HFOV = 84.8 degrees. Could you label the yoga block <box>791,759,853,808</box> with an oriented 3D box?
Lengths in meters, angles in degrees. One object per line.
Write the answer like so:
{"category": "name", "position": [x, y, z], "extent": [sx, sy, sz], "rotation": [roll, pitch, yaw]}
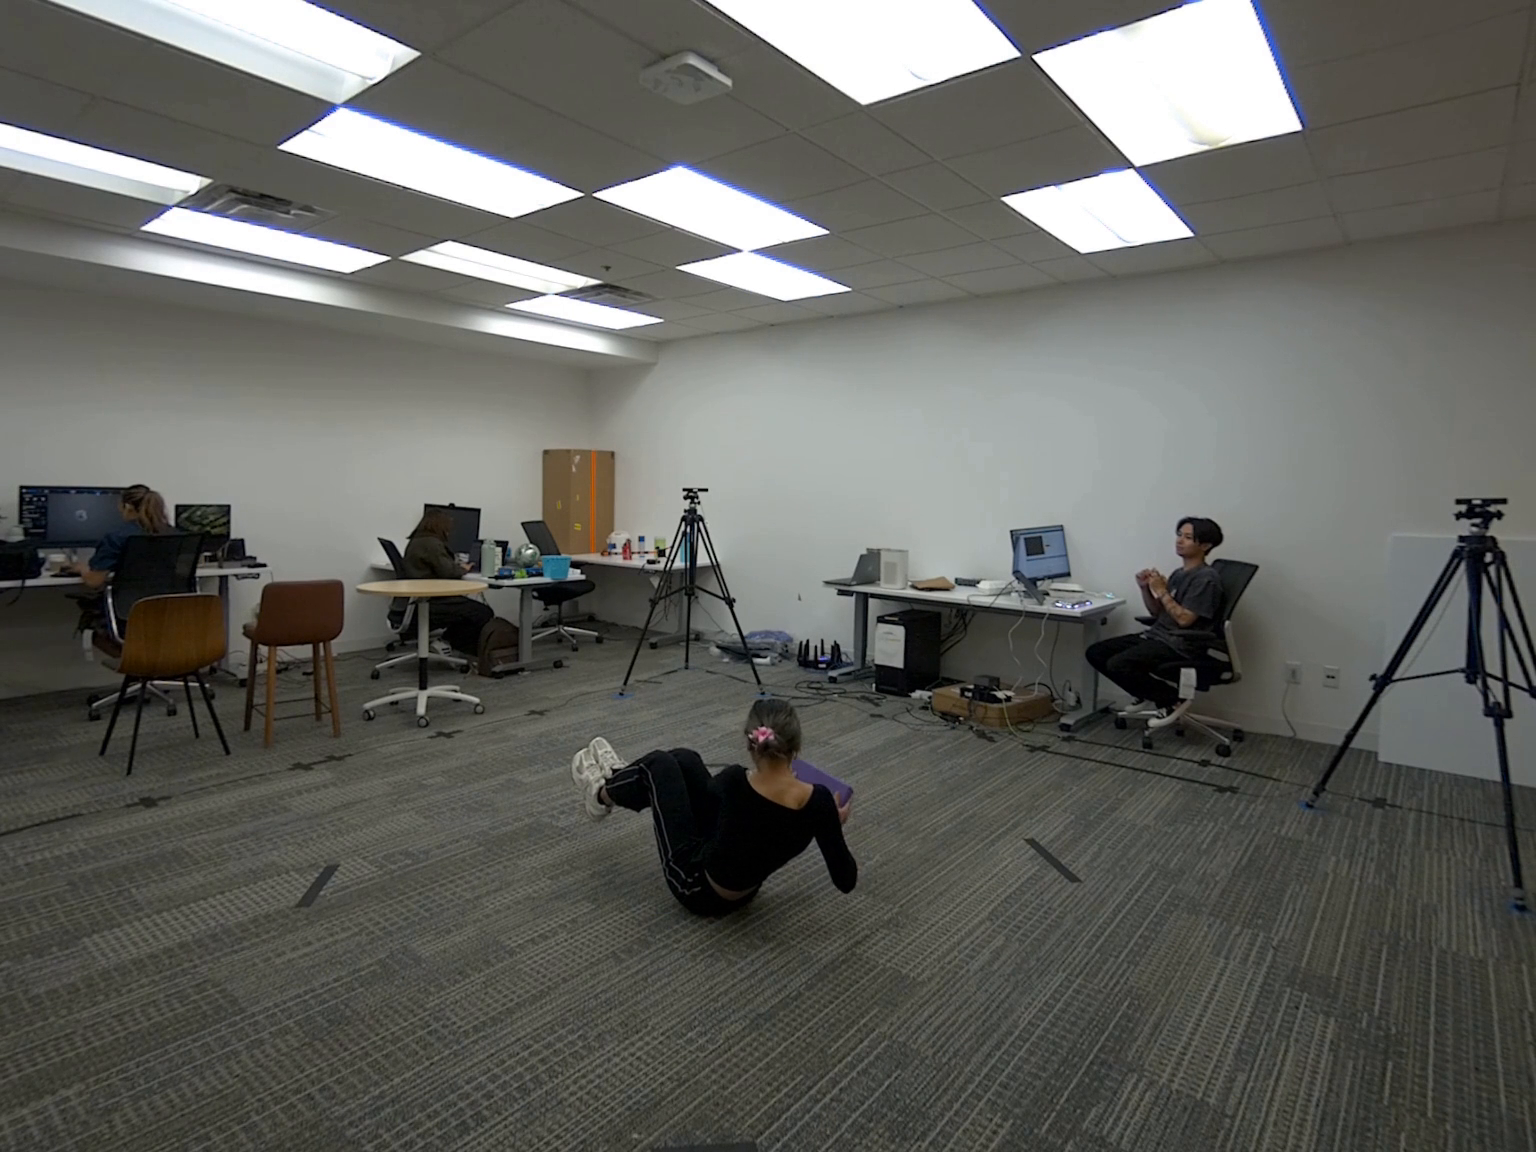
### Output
{"category": "yoga block", "position": [0.164, 0.765, 3.037], "extent": [0.237, 0.149, 0.074], "rotation": [23, -18, 26]}
